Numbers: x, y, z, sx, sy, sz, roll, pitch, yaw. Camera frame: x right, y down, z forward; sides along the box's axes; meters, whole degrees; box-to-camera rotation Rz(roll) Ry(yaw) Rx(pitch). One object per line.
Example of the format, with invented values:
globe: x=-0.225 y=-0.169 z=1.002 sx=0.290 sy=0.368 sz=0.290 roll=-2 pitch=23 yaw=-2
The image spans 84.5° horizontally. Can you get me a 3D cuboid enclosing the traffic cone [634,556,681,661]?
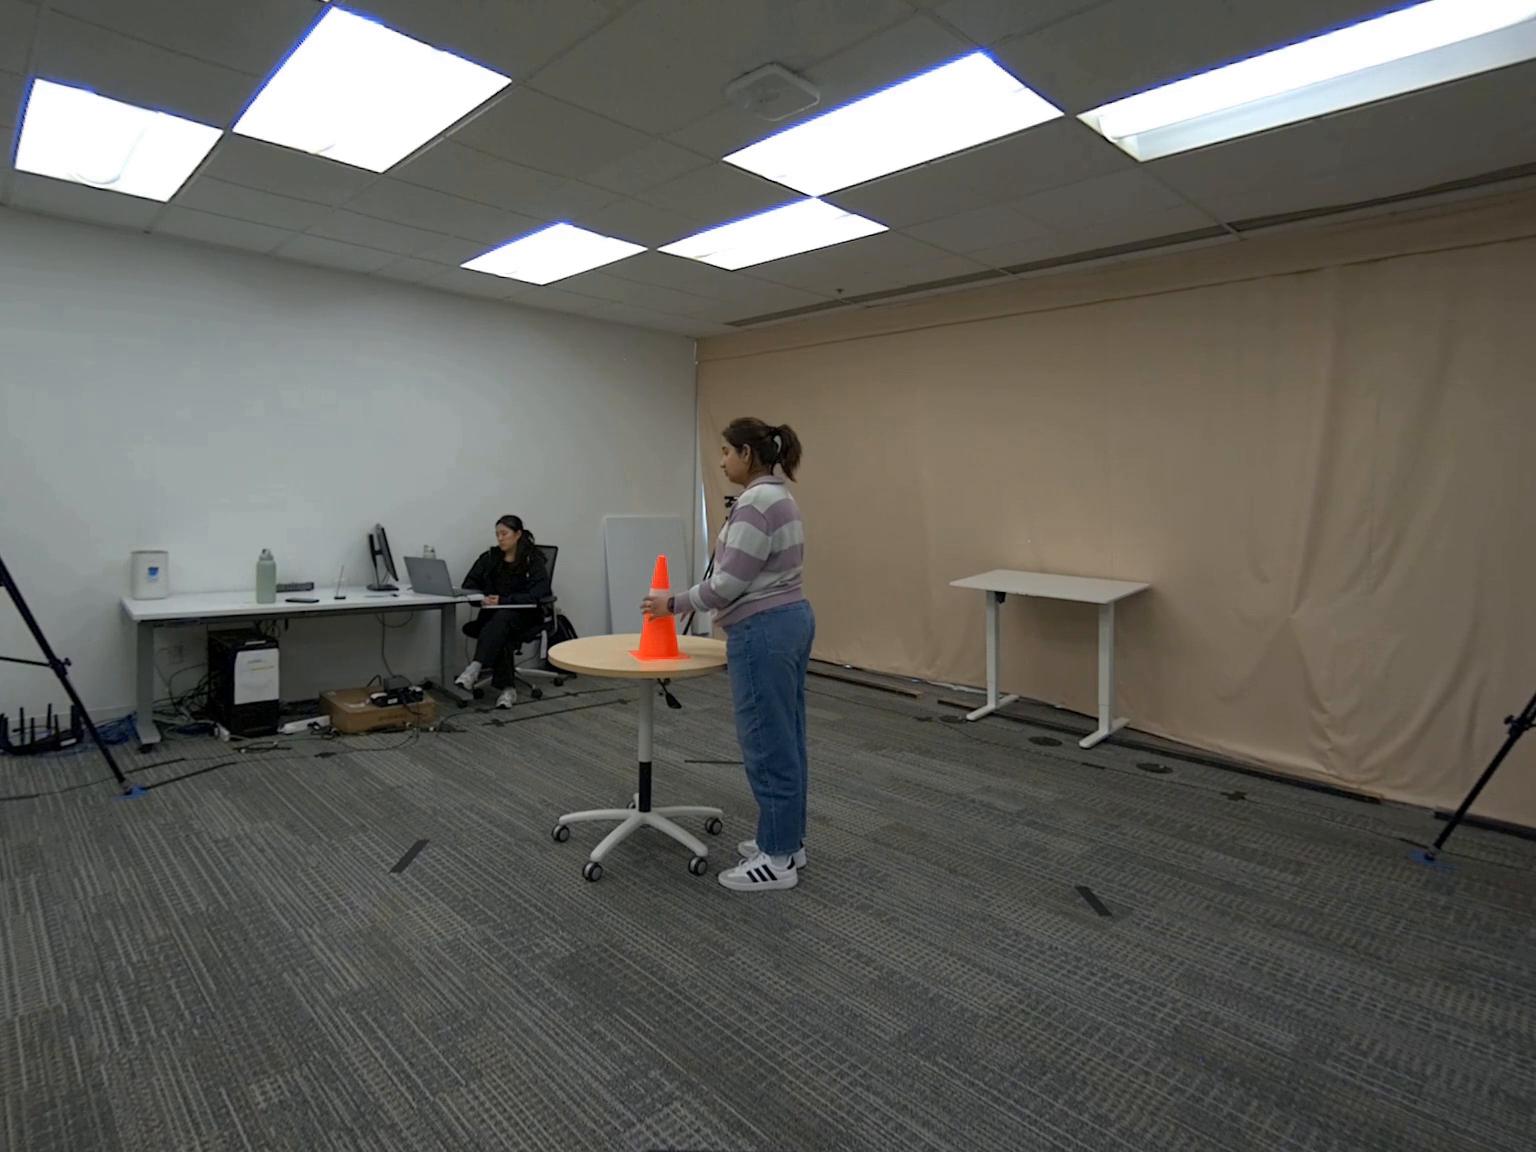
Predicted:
traffic cone: x=-0.411 y=0.115 z=3.224 sx=0.200 sy=0.383 sz=0.208 roll=1 pitch=3 yaw=-32
